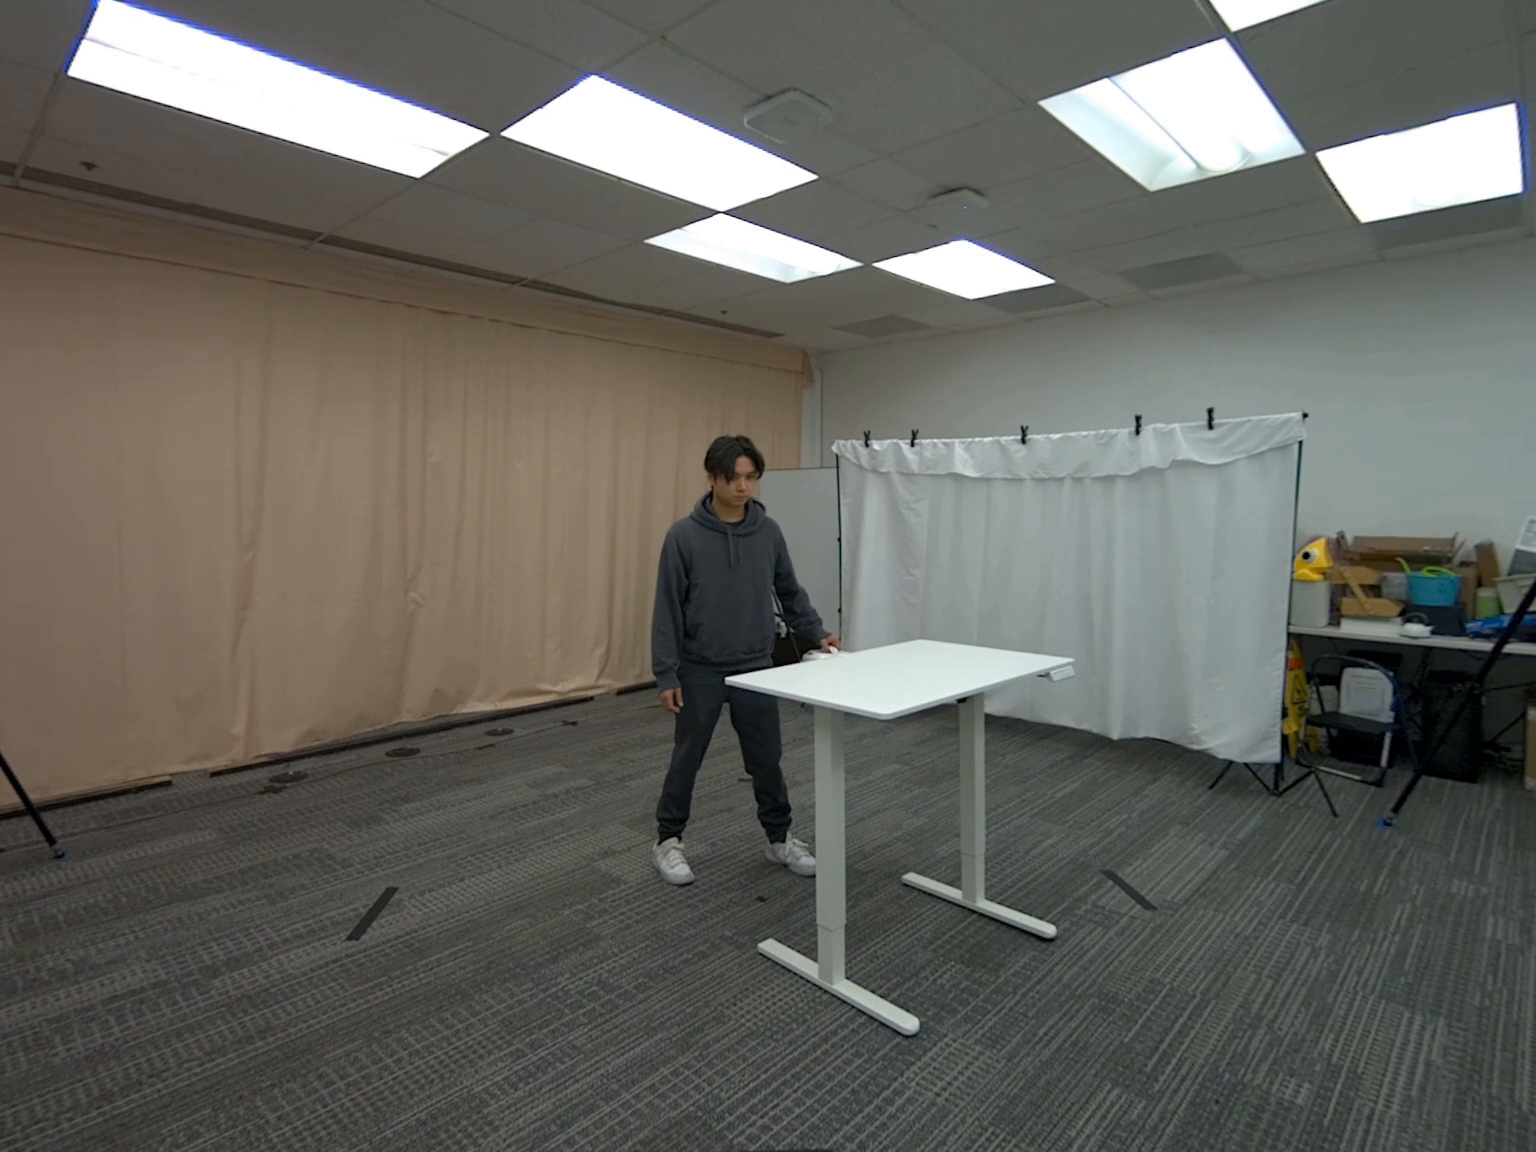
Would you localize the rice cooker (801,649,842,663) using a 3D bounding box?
[{"bbox_3d":[0.244,0.385,3.249,0.215,0.233,0.223,3,-1,-11],"label":"rice cooker"}]
